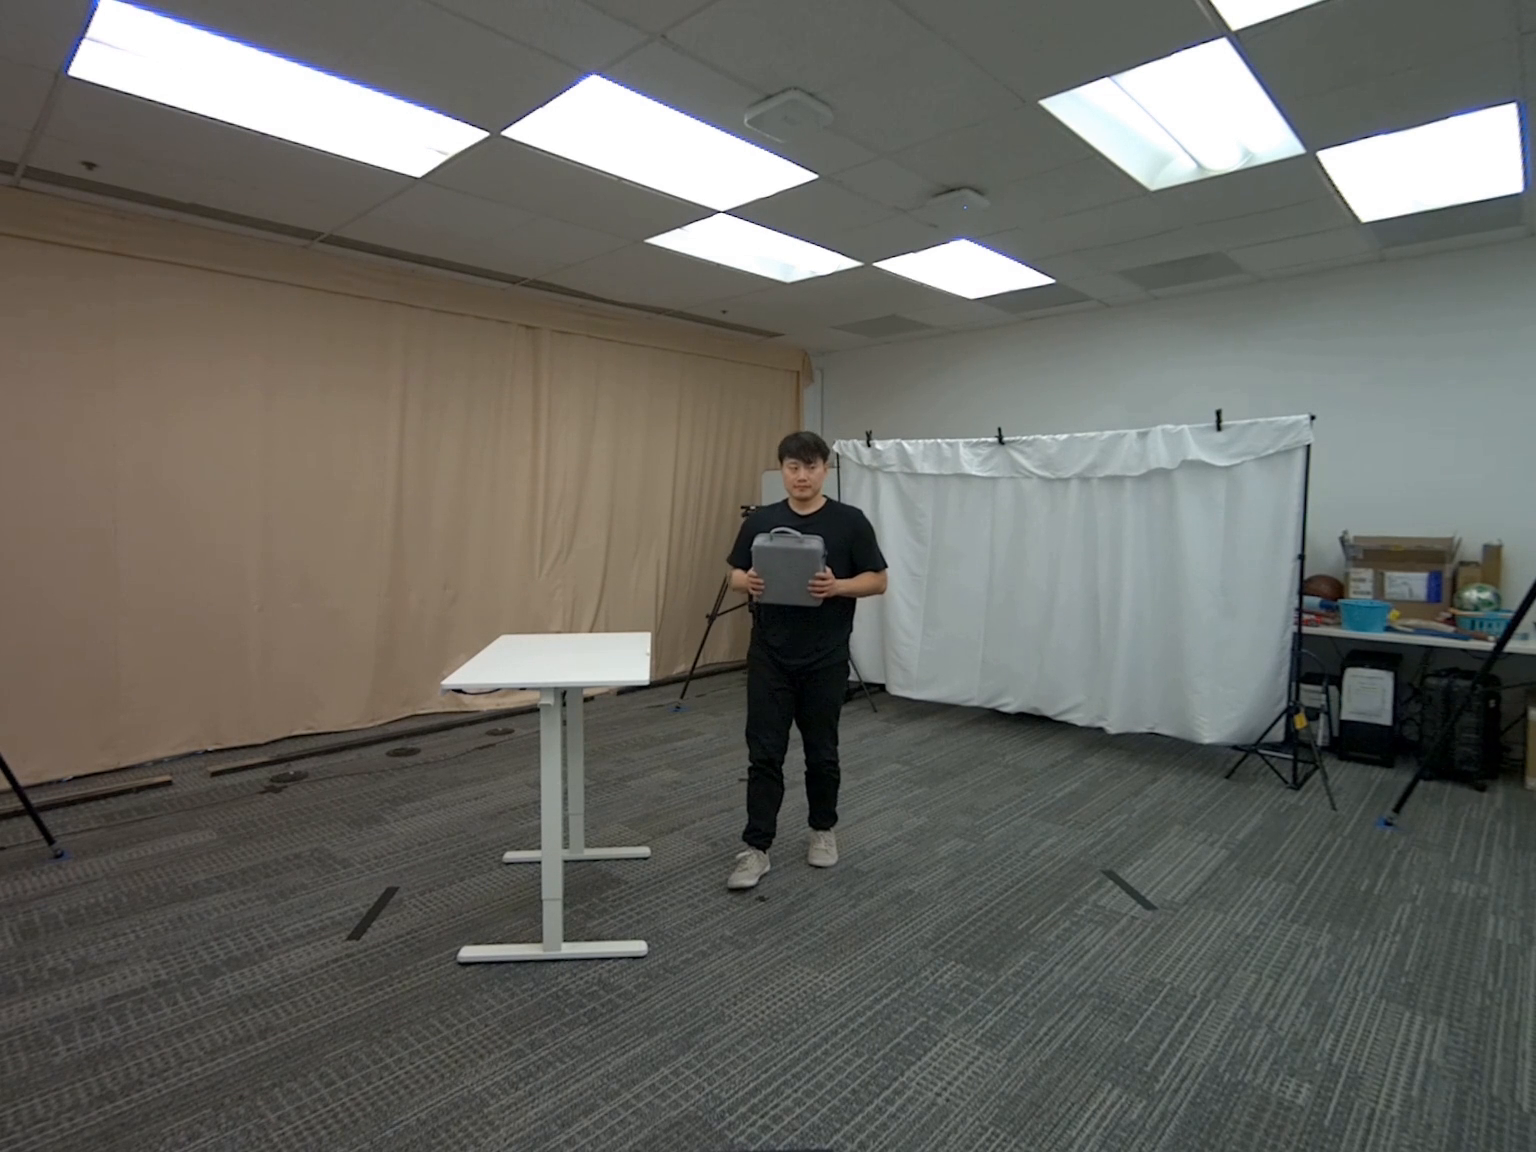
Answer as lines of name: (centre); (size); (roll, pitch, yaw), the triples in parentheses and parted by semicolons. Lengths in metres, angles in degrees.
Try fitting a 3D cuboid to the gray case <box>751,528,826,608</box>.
gray case: (0.074, -0.026, 3.015); (0.261, 0.256, 0.104); (3, 27, 14)
